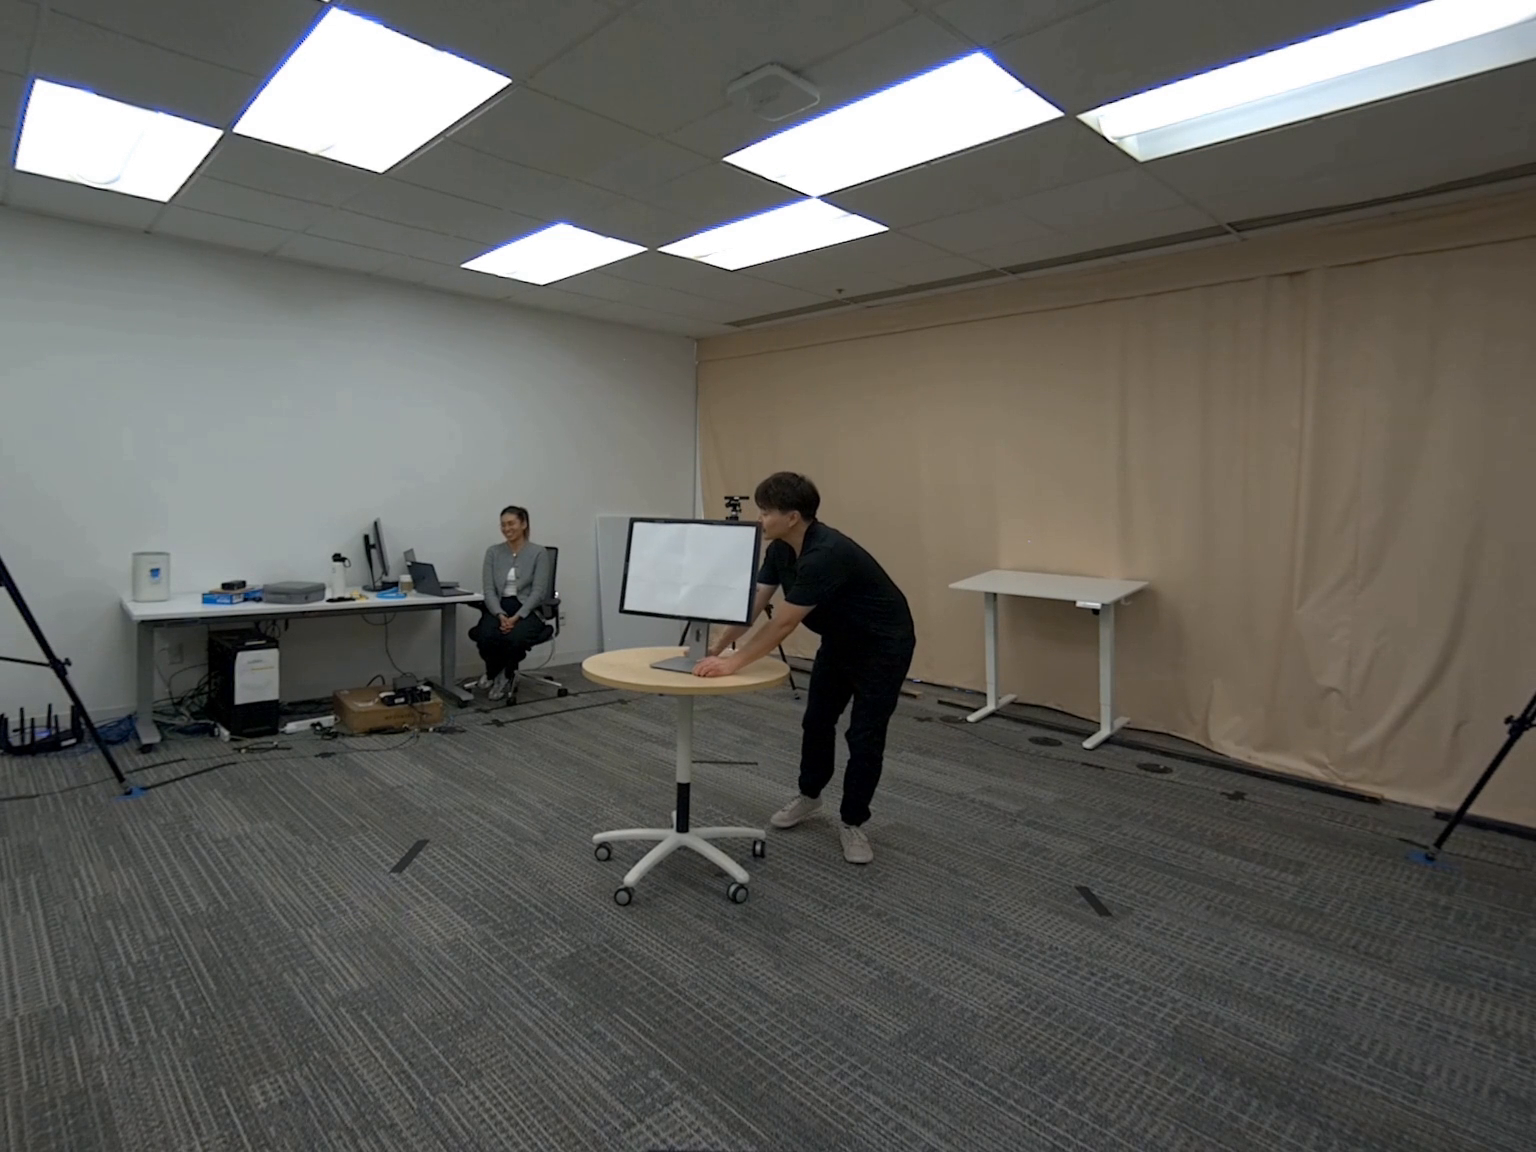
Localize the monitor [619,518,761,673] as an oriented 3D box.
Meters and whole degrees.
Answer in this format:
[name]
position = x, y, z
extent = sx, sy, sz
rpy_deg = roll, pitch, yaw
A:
[monitor]
position = -0.273, 0.068, 3.050
extent = 0.550, 0.520, 0.184
rpy_deg = 3, 6, 26
